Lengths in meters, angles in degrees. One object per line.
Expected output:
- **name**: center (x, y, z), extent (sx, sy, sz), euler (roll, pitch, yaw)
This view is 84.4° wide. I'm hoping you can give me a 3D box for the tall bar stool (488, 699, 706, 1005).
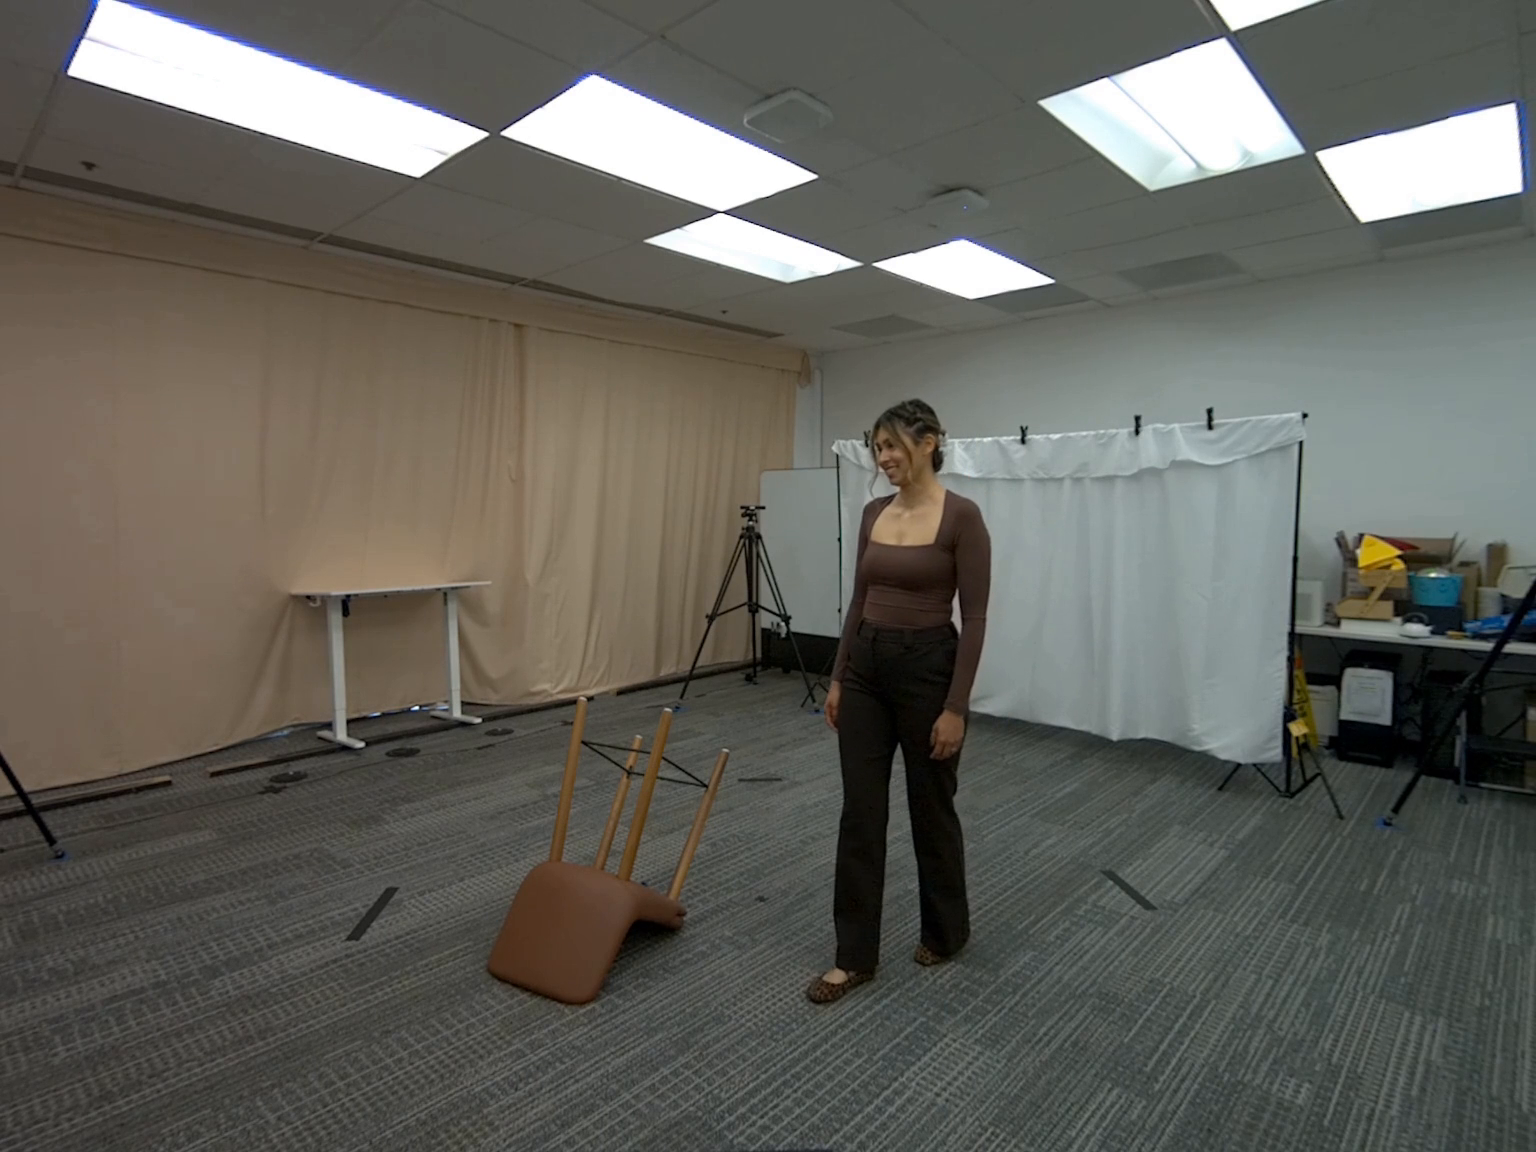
- **tall bar stool**: center (-0.500, 0.914, 2.779), extent (0.469, 0.896, 0.452), euler (1, -30, 27)
